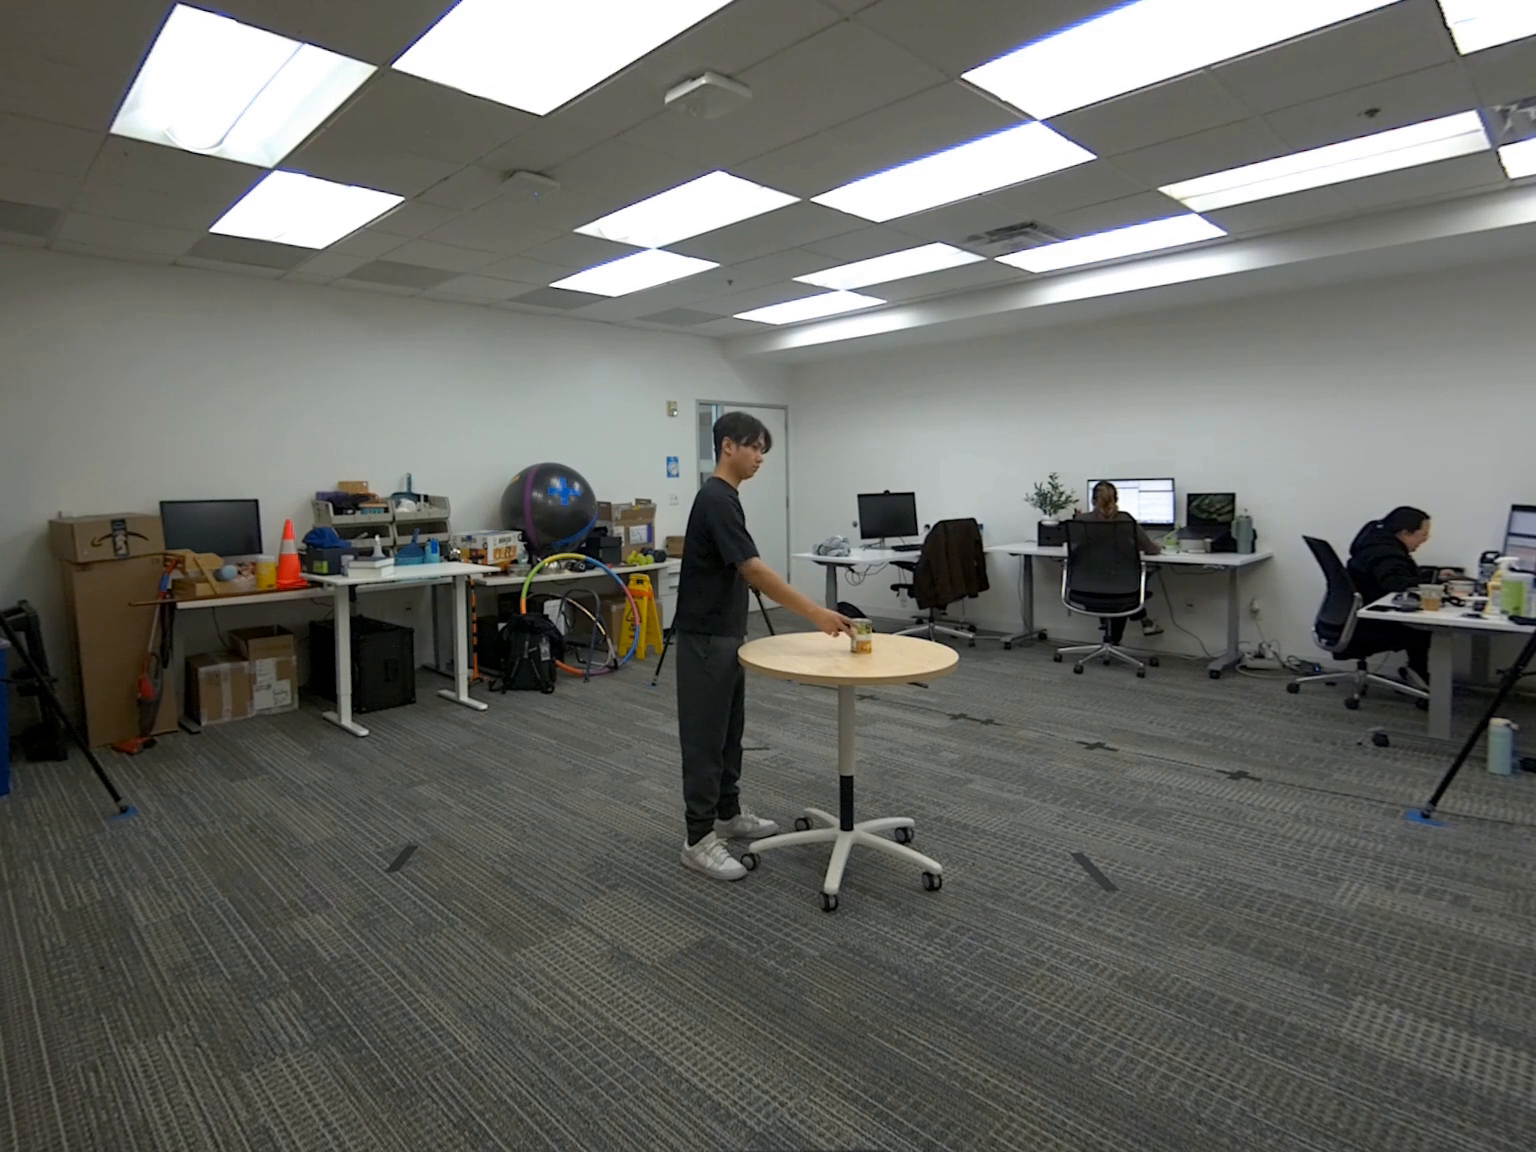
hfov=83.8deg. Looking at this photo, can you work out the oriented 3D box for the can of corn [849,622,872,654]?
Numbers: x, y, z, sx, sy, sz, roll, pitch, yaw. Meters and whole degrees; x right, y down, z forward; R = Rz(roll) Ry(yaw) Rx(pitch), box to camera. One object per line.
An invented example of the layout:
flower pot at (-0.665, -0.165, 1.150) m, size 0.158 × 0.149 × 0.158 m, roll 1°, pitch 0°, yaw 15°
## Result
can of corn at (0.330, 0.212, 3.007) m, size 0.074 × 0.110 × 0.075 m, roll 0°, pitch 6°, yaw -2°
